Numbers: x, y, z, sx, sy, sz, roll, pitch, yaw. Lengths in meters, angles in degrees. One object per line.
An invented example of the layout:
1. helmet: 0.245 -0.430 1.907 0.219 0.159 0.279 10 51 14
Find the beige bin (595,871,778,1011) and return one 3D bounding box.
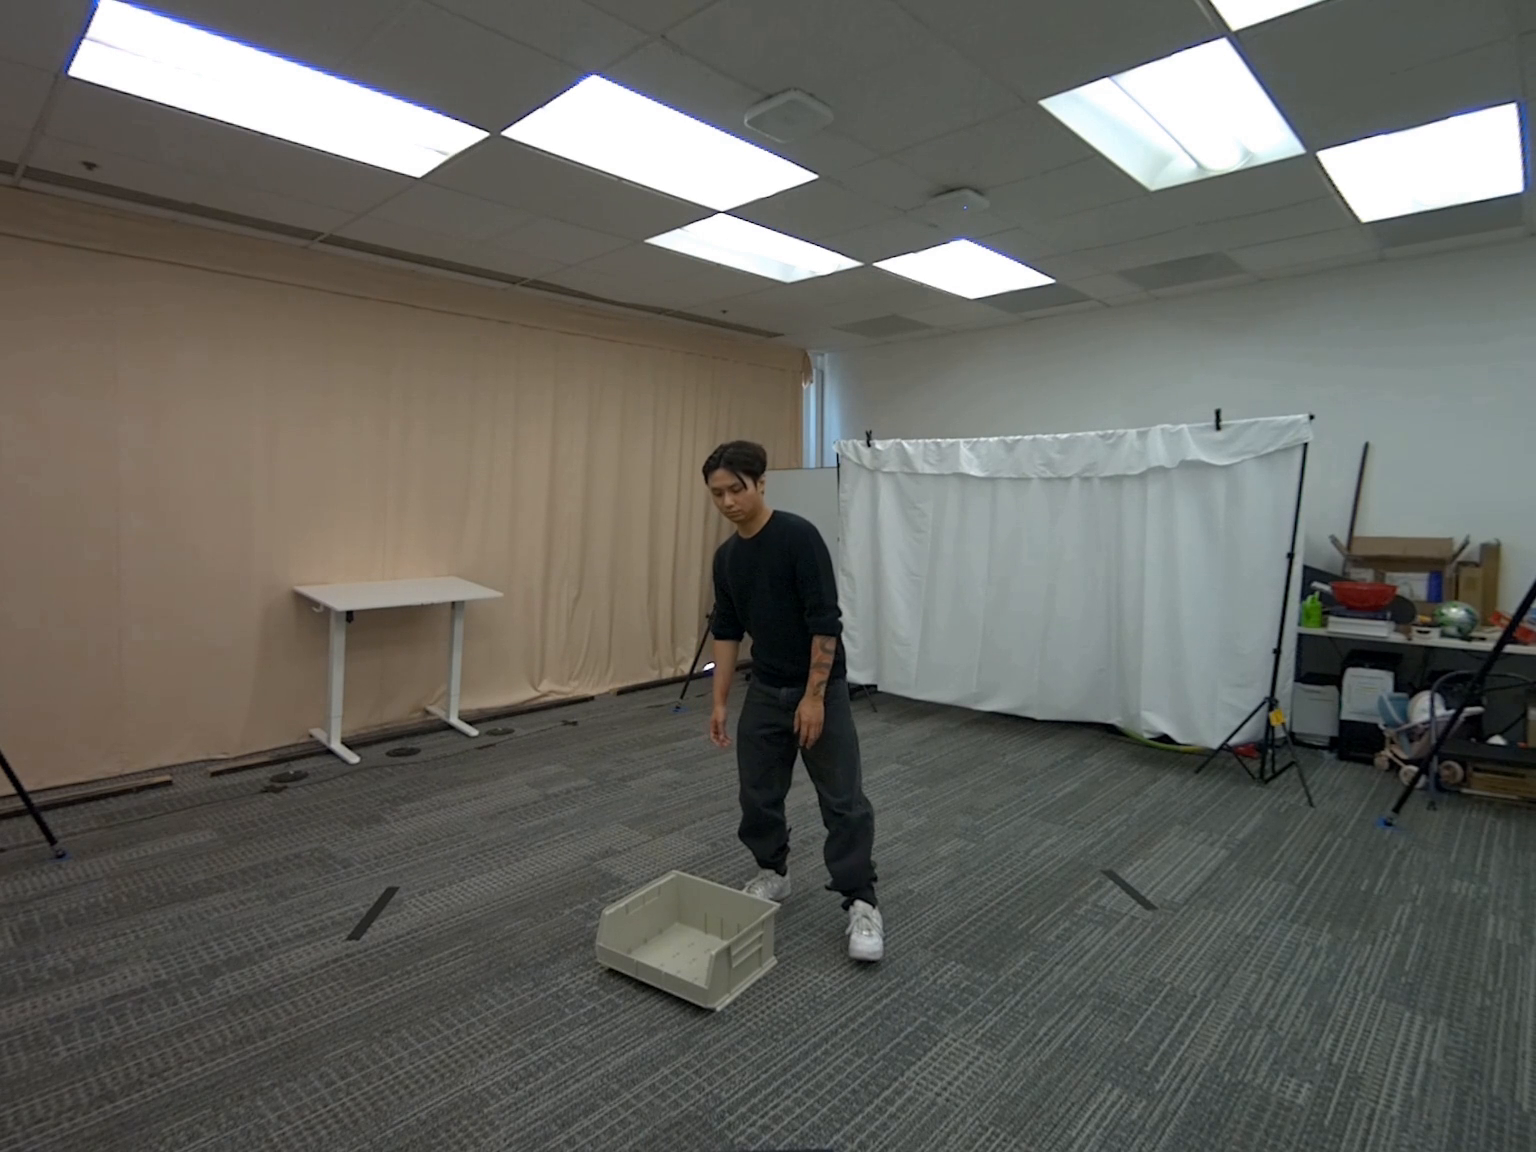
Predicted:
1. beige bin: -0.237 1.093 2.538 0.435 0.188 0.366 3 4 34
